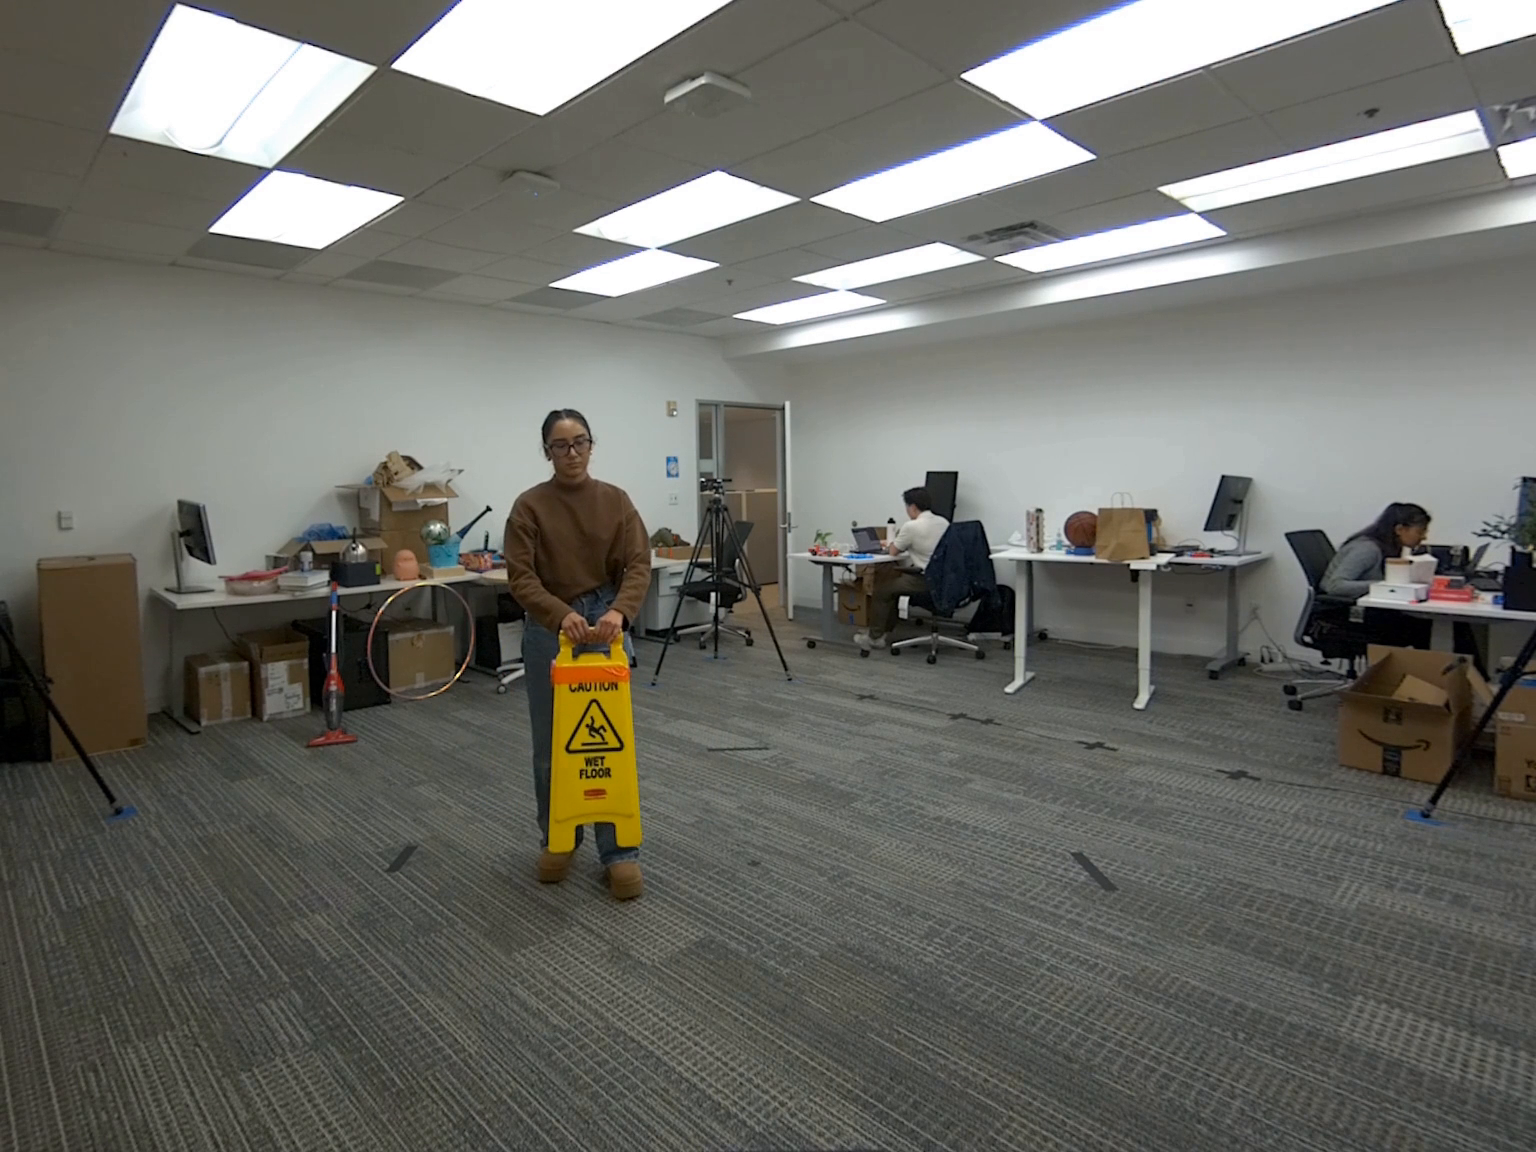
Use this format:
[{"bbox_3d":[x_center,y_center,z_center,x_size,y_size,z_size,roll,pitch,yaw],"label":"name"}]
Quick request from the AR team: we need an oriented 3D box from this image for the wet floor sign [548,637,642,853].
[{"bbox_3d":[-0.553,0.492,2.686,0.279,0.645,0.293,-2,2,-11],"label":"wet floor sign"}]
